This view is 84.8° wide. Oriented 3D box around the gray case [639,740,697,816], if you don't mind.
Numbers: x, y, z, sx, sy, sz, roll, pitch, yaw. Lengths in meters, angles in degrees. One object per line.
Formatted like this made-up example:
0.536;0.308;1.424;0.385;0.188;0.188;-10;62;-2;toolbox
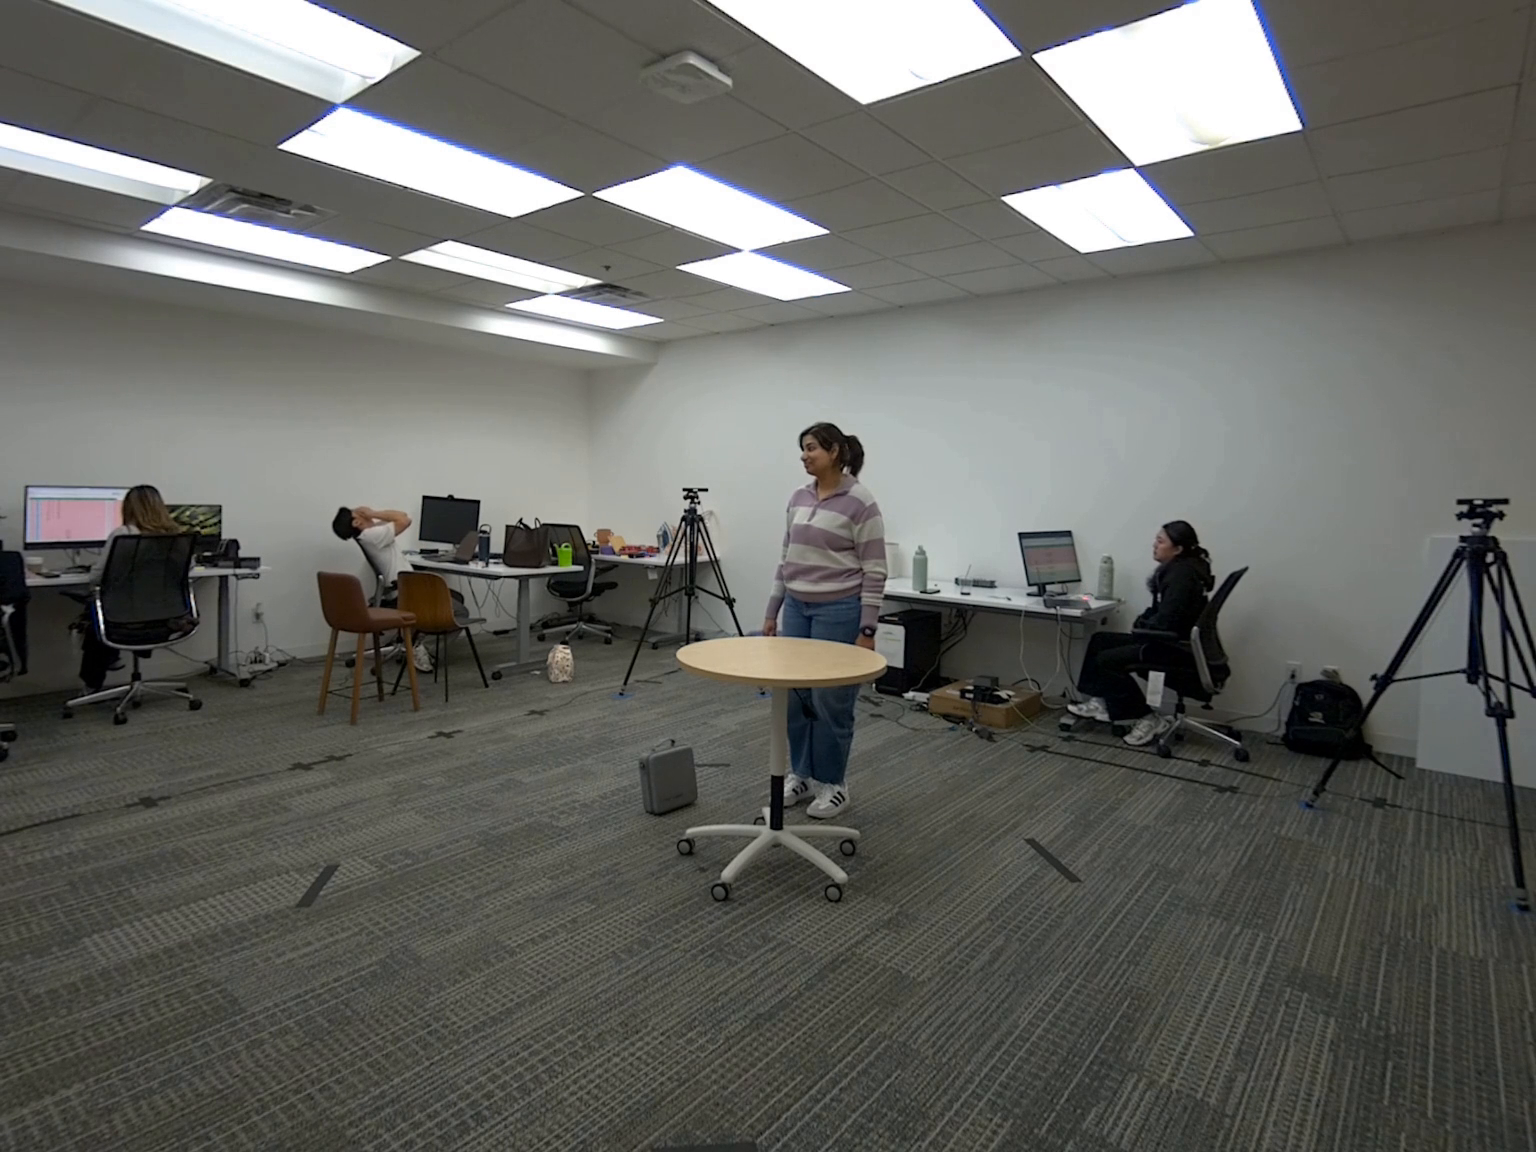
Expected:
-0.446;0.874;3.715;0.249;0.262;0.107;-2;-6;-45;gray case
